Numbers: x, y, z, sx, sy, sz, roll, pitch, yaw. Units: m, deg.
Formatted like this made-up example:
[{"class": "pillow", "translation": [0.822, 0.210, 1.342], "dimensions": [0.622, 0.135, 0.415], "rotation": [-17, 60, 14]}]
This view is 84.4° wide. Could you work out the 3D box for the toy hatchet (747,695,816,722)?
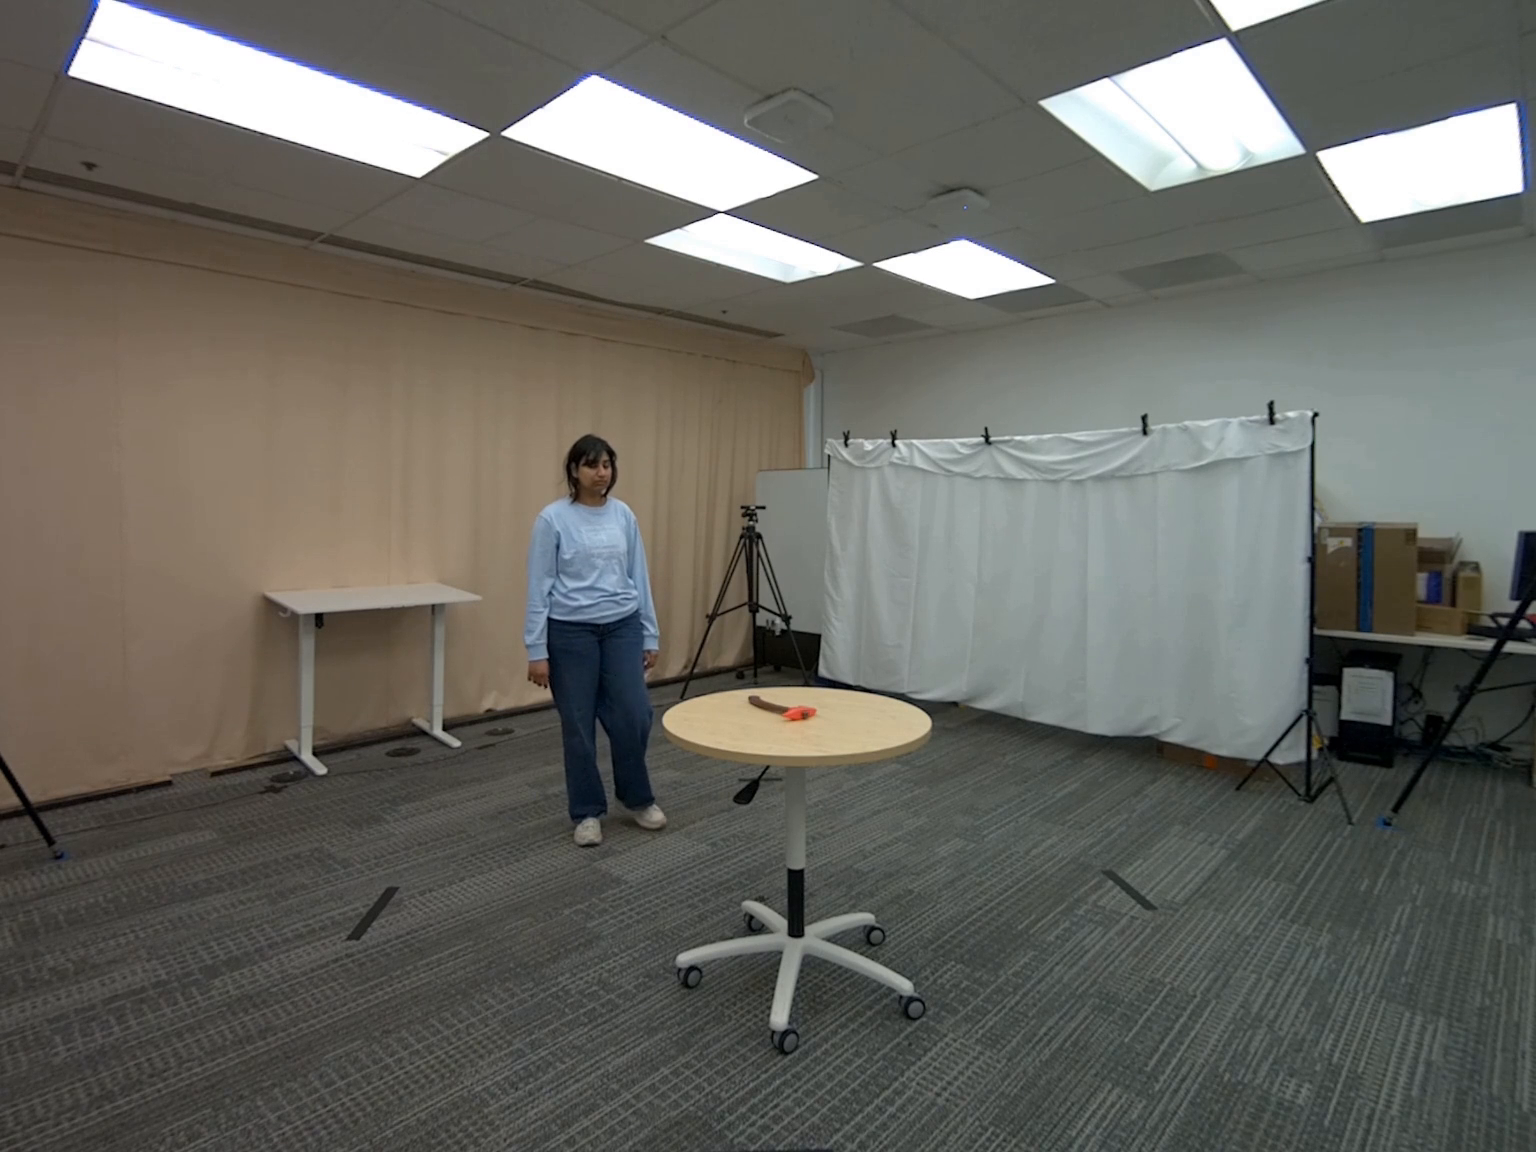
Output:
[{"class": "toy hatchet", "translation": [0.054, 0.388, 2.499], "dimensions": [0.128, 0.029, 0.276], "rotation": [-3, 5, -22]}]
